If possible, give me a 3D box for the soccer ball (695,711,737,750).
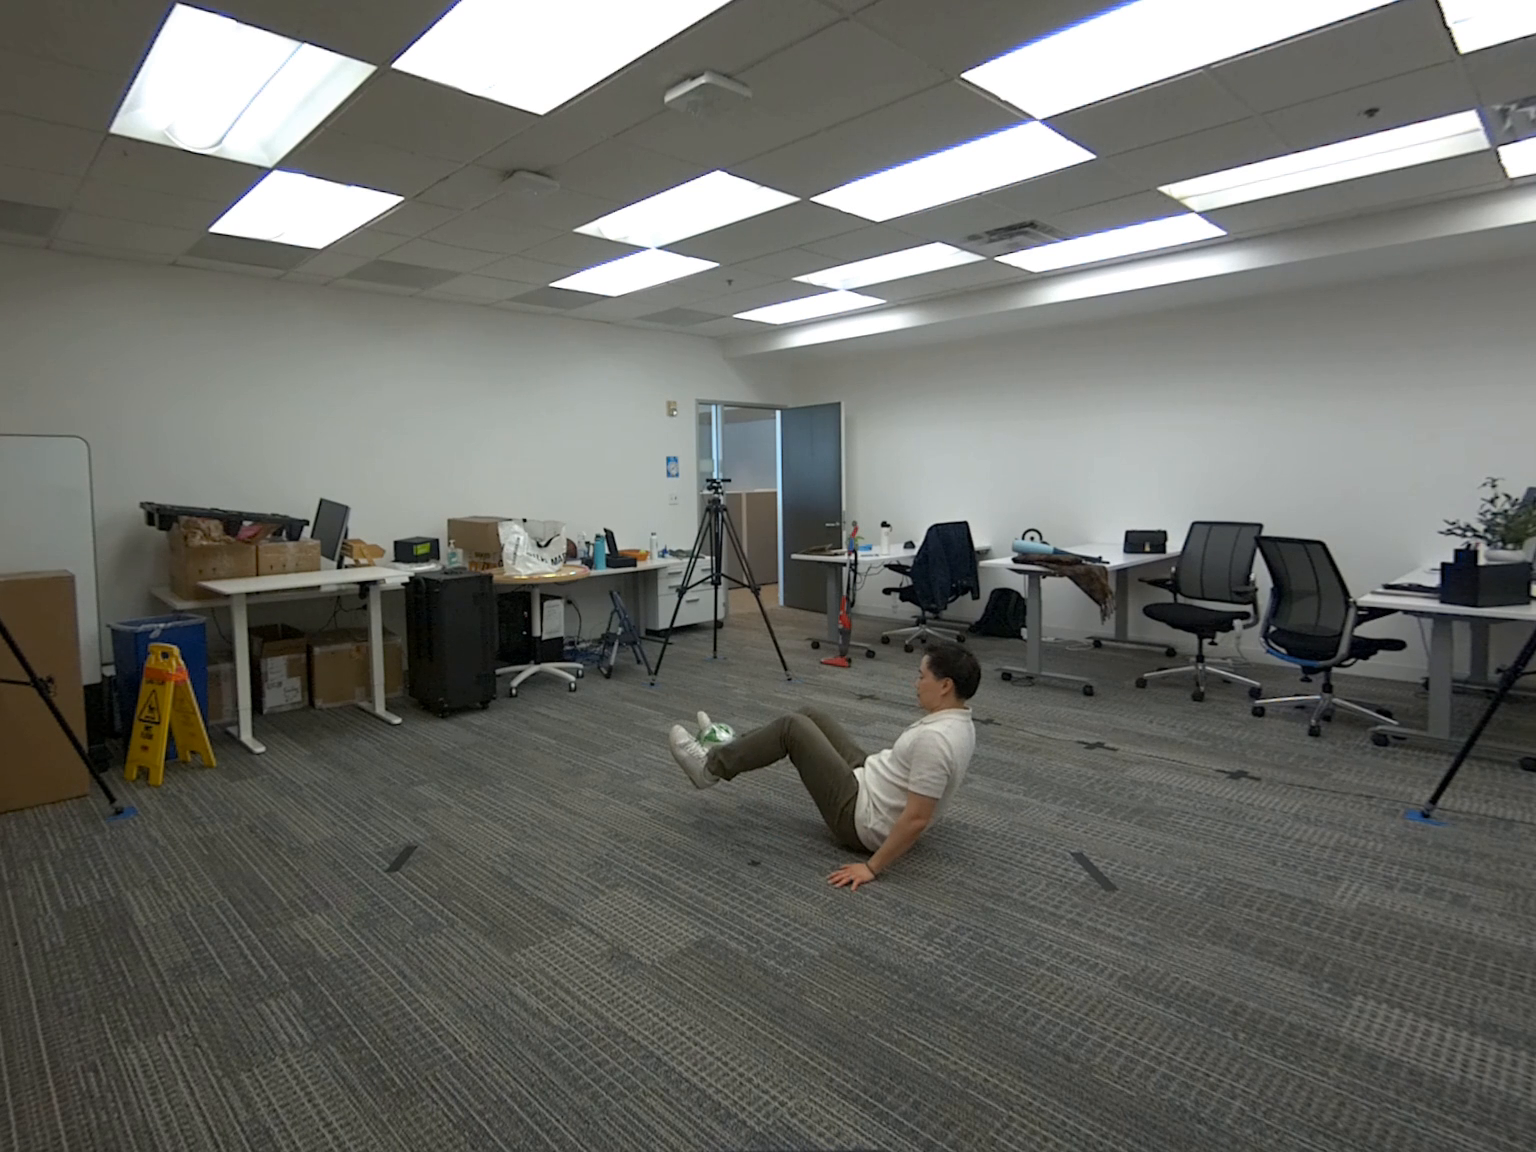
[{"bbox_3d":[-0.207,0.706,3.526,0.187,0.187,0.188,-1,5,-2],"label":"soccer ball"}]
